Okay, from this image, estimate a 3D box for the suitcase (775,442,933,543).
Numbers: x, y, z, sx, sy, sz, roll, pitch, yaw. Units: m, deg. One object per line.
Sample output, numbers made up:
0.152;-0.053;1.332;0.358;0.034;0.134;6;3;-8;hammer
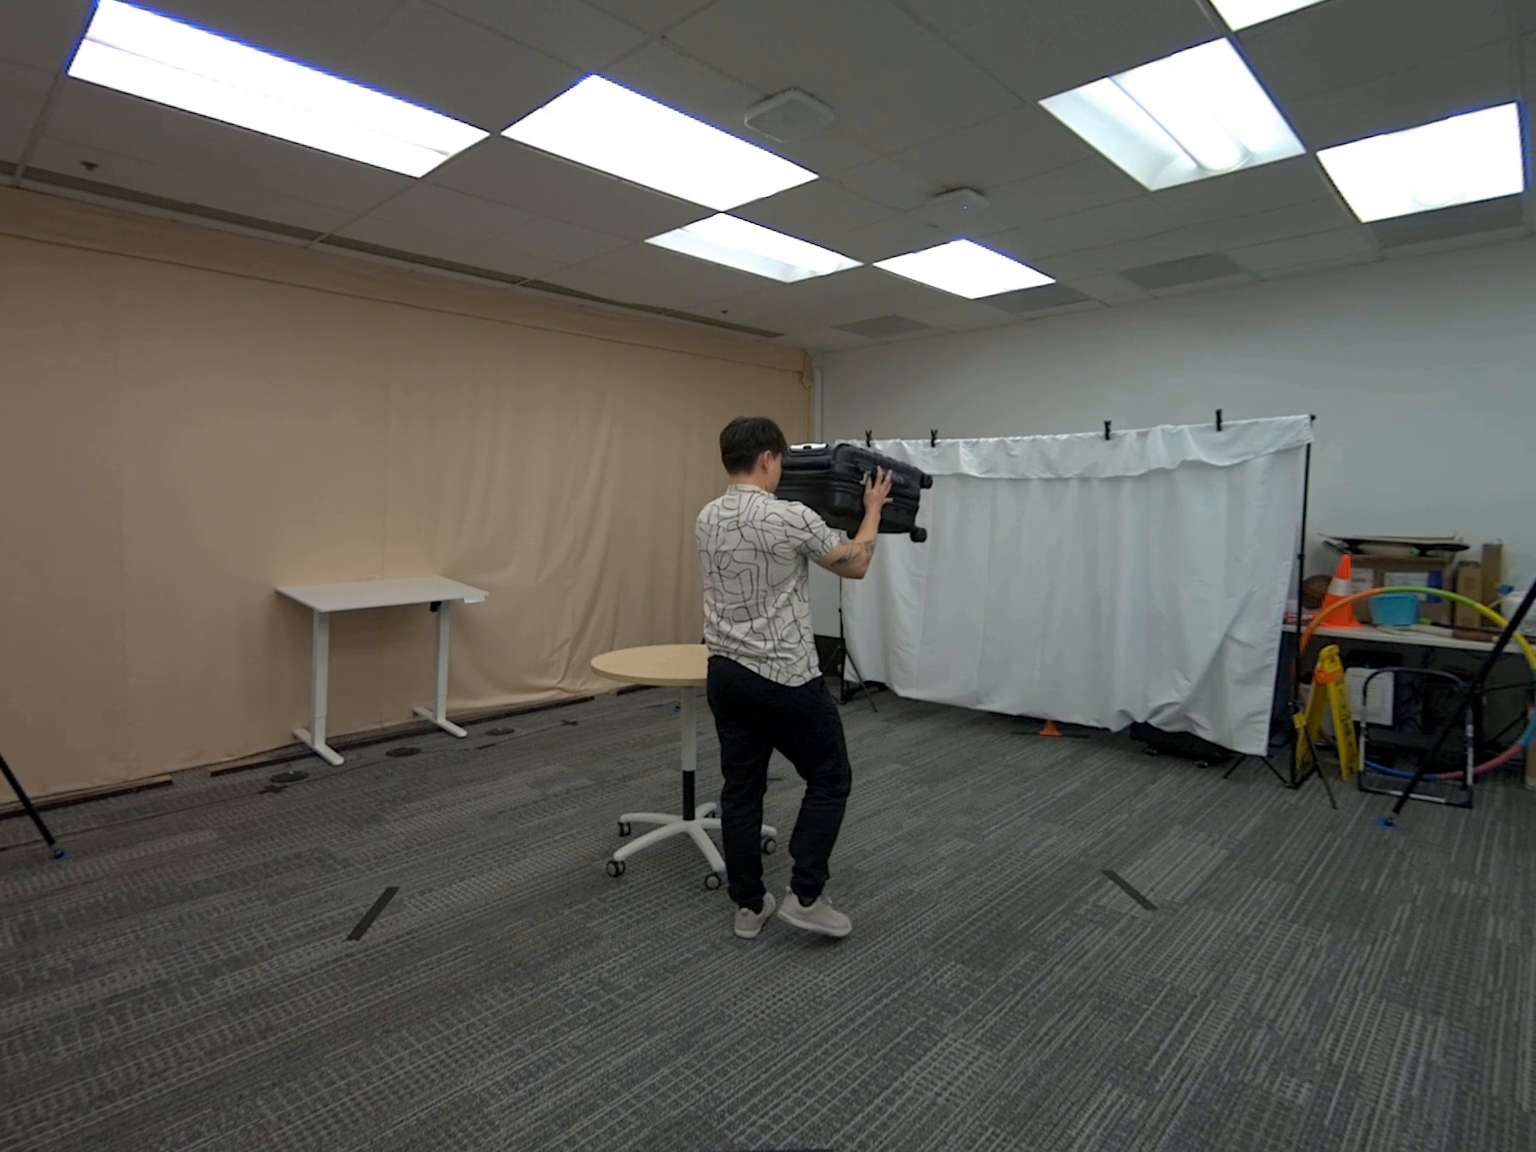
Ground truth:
0.304;-0.304;3.037;0.388;0.249;0.530;5;-5;44;suitcase
